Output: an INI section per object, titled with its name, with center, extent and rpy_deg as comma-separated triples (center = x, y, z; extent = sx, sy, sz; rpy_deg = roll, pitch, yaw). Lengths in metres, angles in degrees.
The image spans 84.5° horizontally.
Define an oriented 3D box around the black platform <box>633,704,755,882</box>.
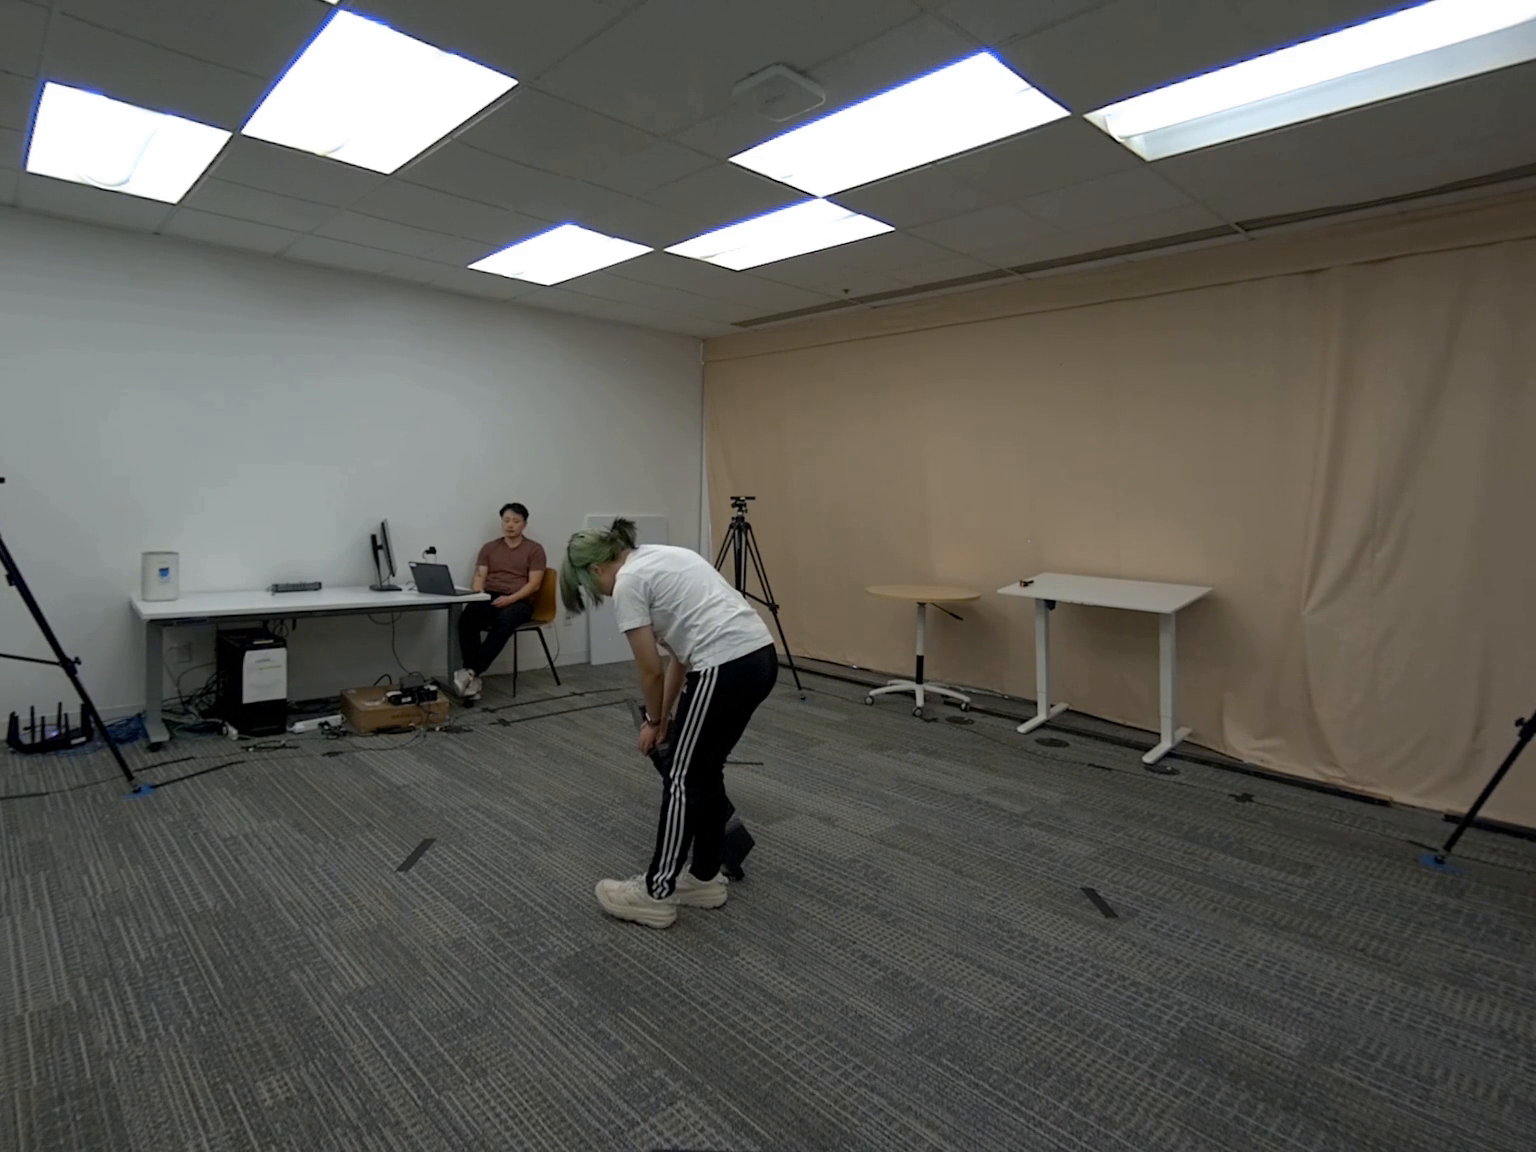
[black platform]
center = -0.325, 0.795, 3.396
extent = 0.143, 0.599, 0.816
rpy_deg = -34, 11, -9
